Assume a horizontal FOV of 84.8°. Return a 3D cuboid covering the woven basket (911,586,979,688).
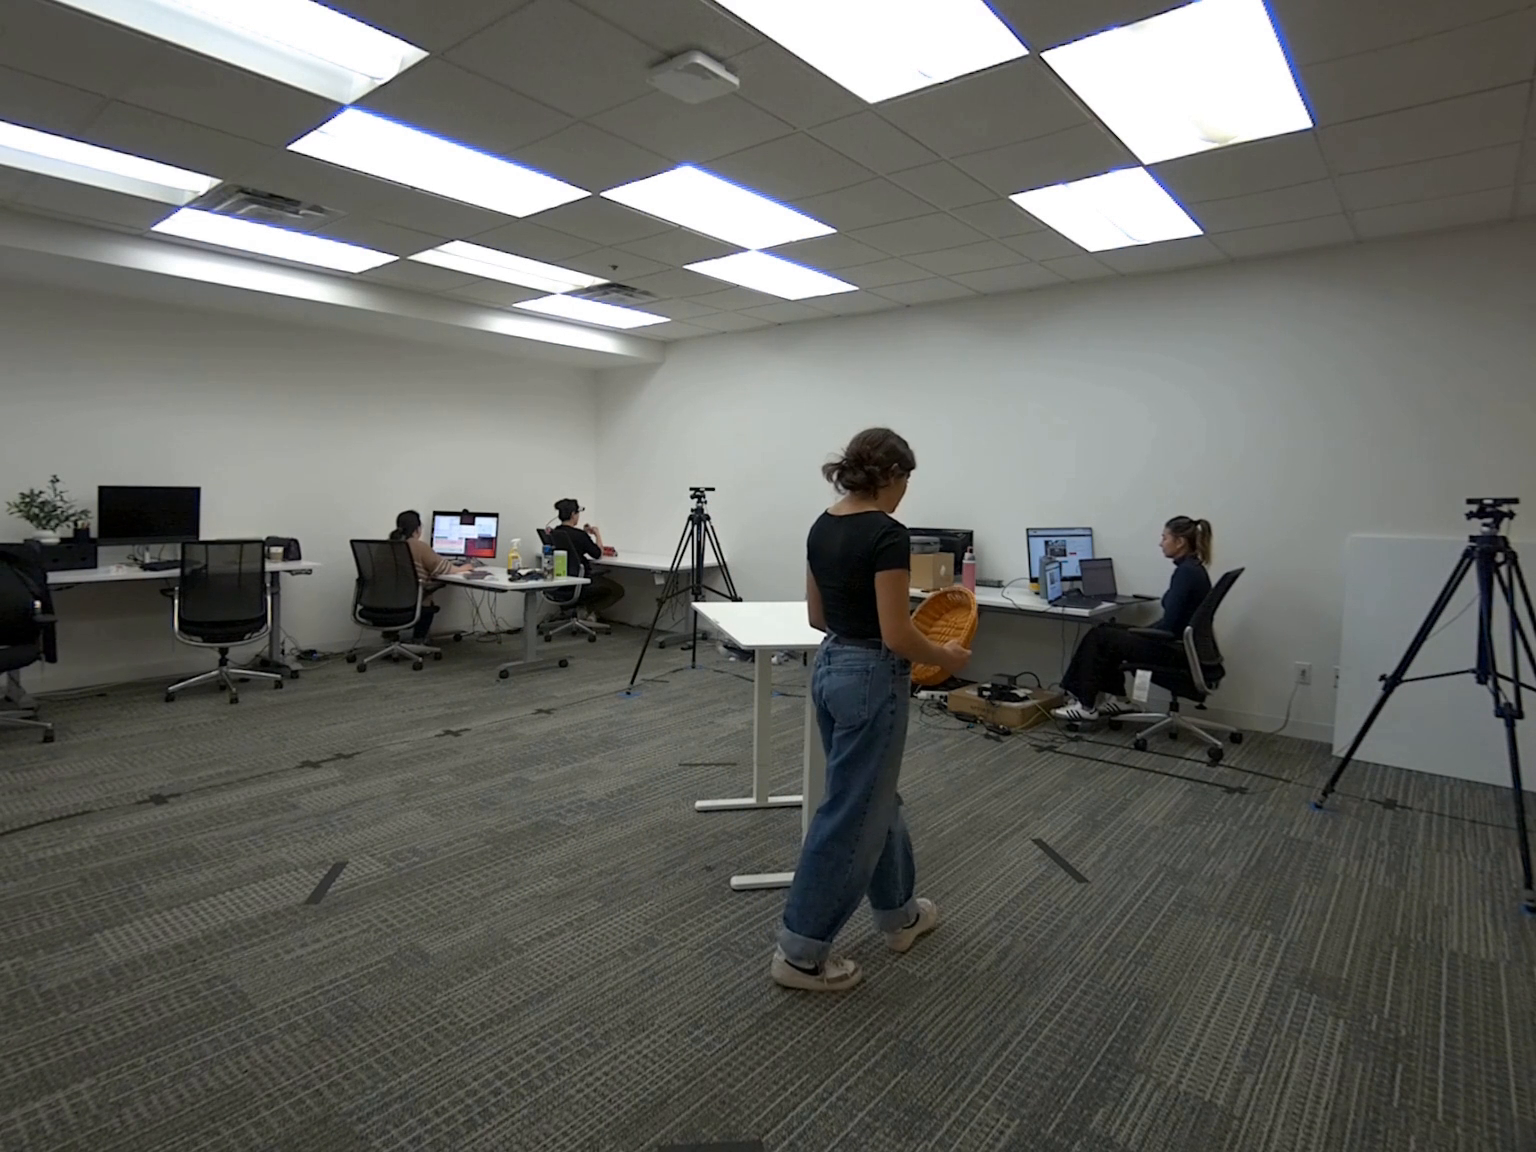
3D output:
[{"bbox_3d":[0.515,0.186,2.530,0.071,0.351,0.260,44,-20,-26],"label":"woven basket"}]
